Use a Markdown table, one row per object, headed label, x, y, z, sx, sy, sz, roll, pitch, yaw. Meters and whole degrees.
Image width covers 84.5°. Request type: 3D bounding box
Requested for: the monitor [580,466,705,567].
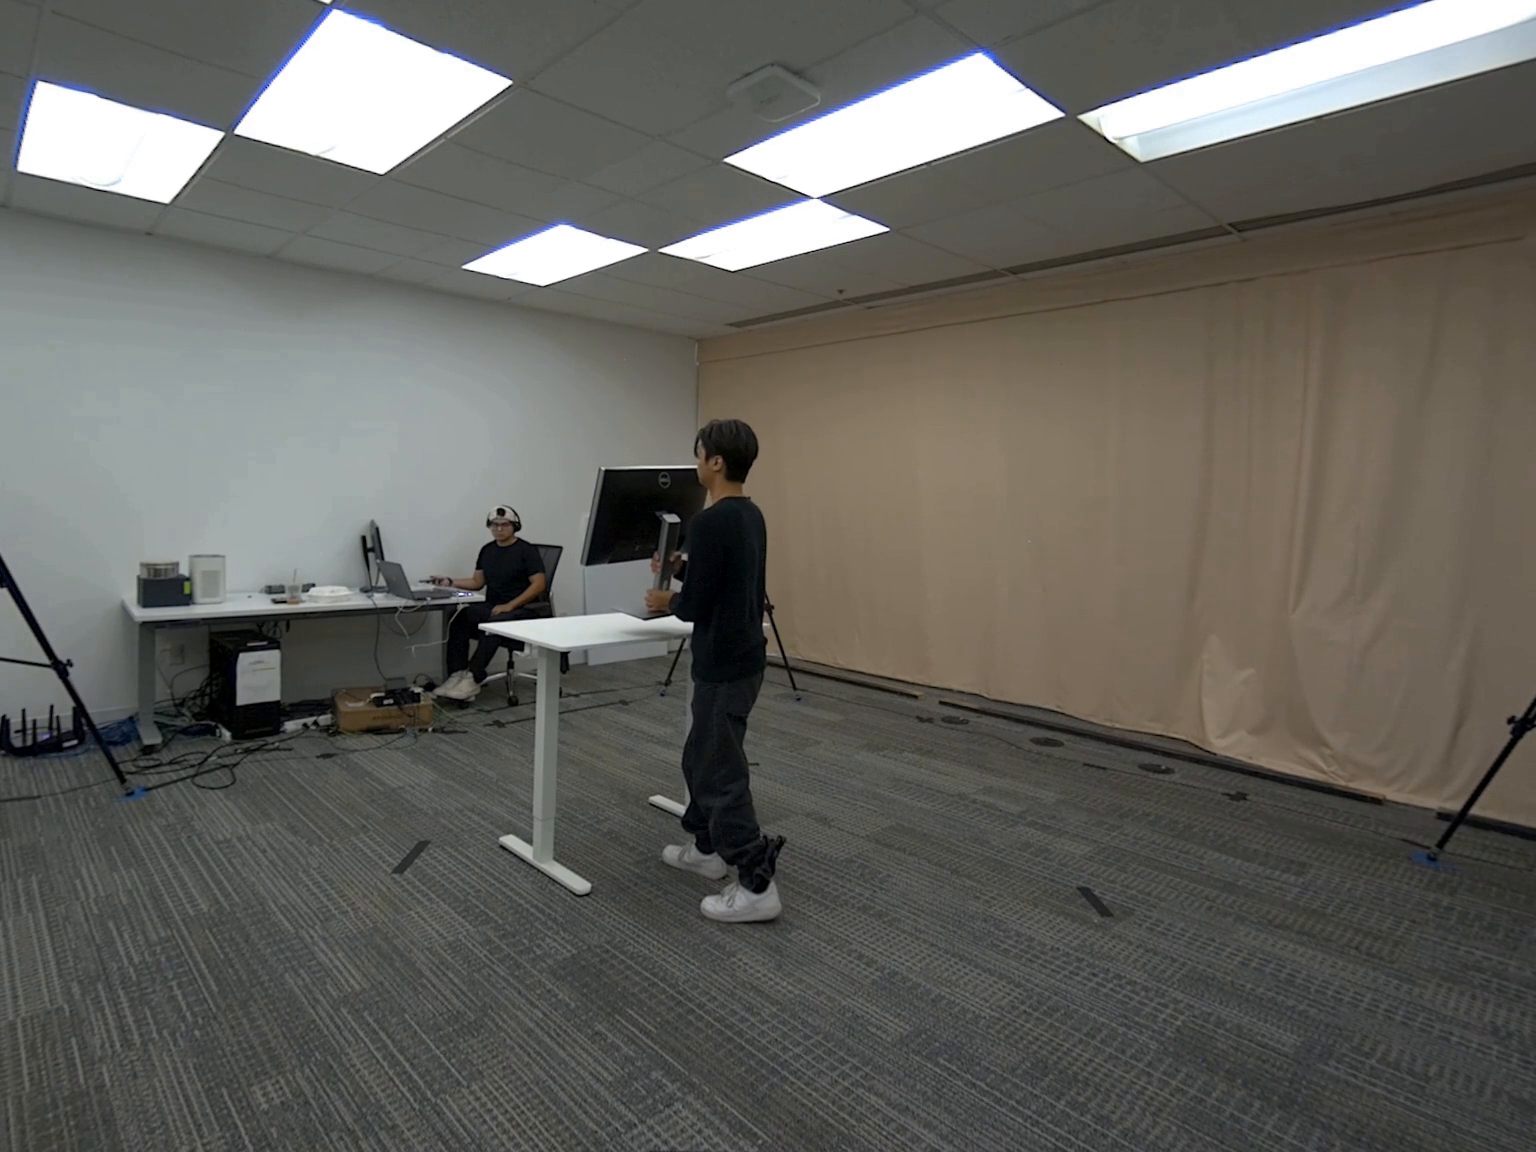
| label | x | y | z | sx | sy | sz | roll | pitch | yaw |
| --- | --- | --- | --- | --- | --- | --- | --- | --- | --- |
| monitor | -0.421 | -0.138 | 3.101 | 0.179 | 0.513 | 0.520 | 5 | 10 | 38 |
